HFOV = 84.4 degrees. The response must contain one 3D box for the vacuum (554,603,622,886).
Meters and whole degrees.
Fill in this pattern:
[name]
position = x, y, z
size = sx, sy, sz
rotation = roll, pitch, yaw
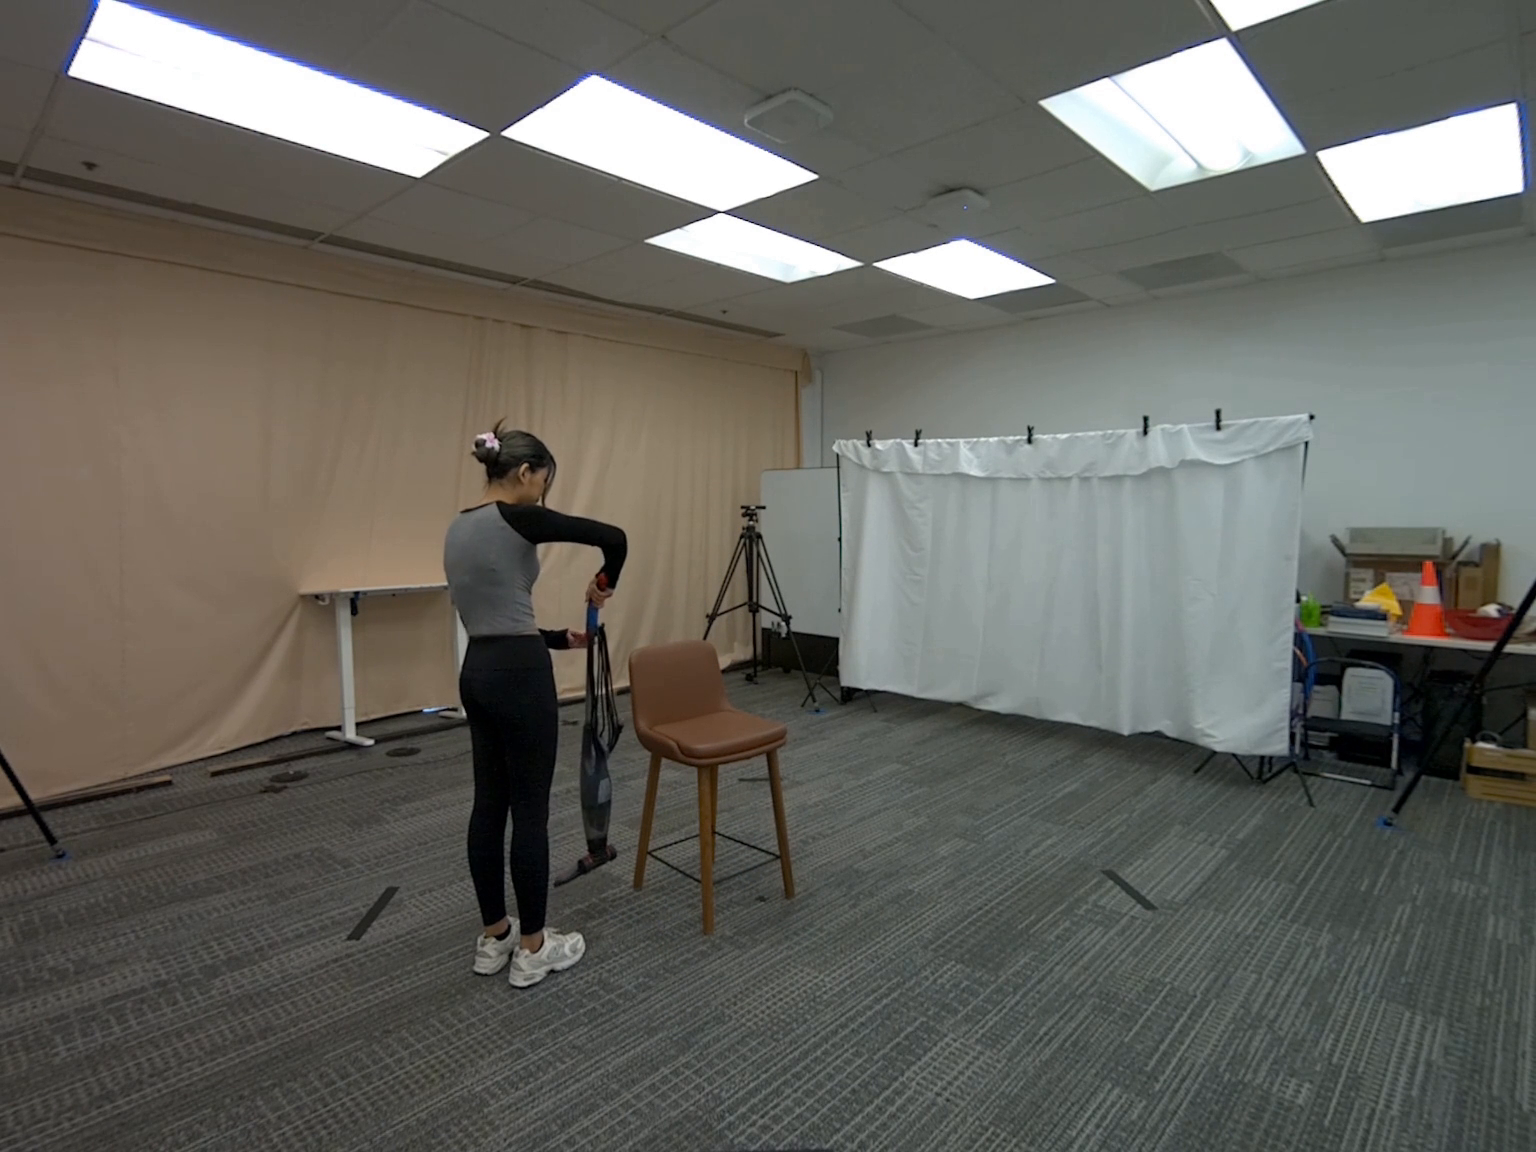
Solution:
[vacuum]
position = -0.561, 0.508, 2.748
size = 0.245, 1.041, 0.149
rotation = -5, 19, -38
